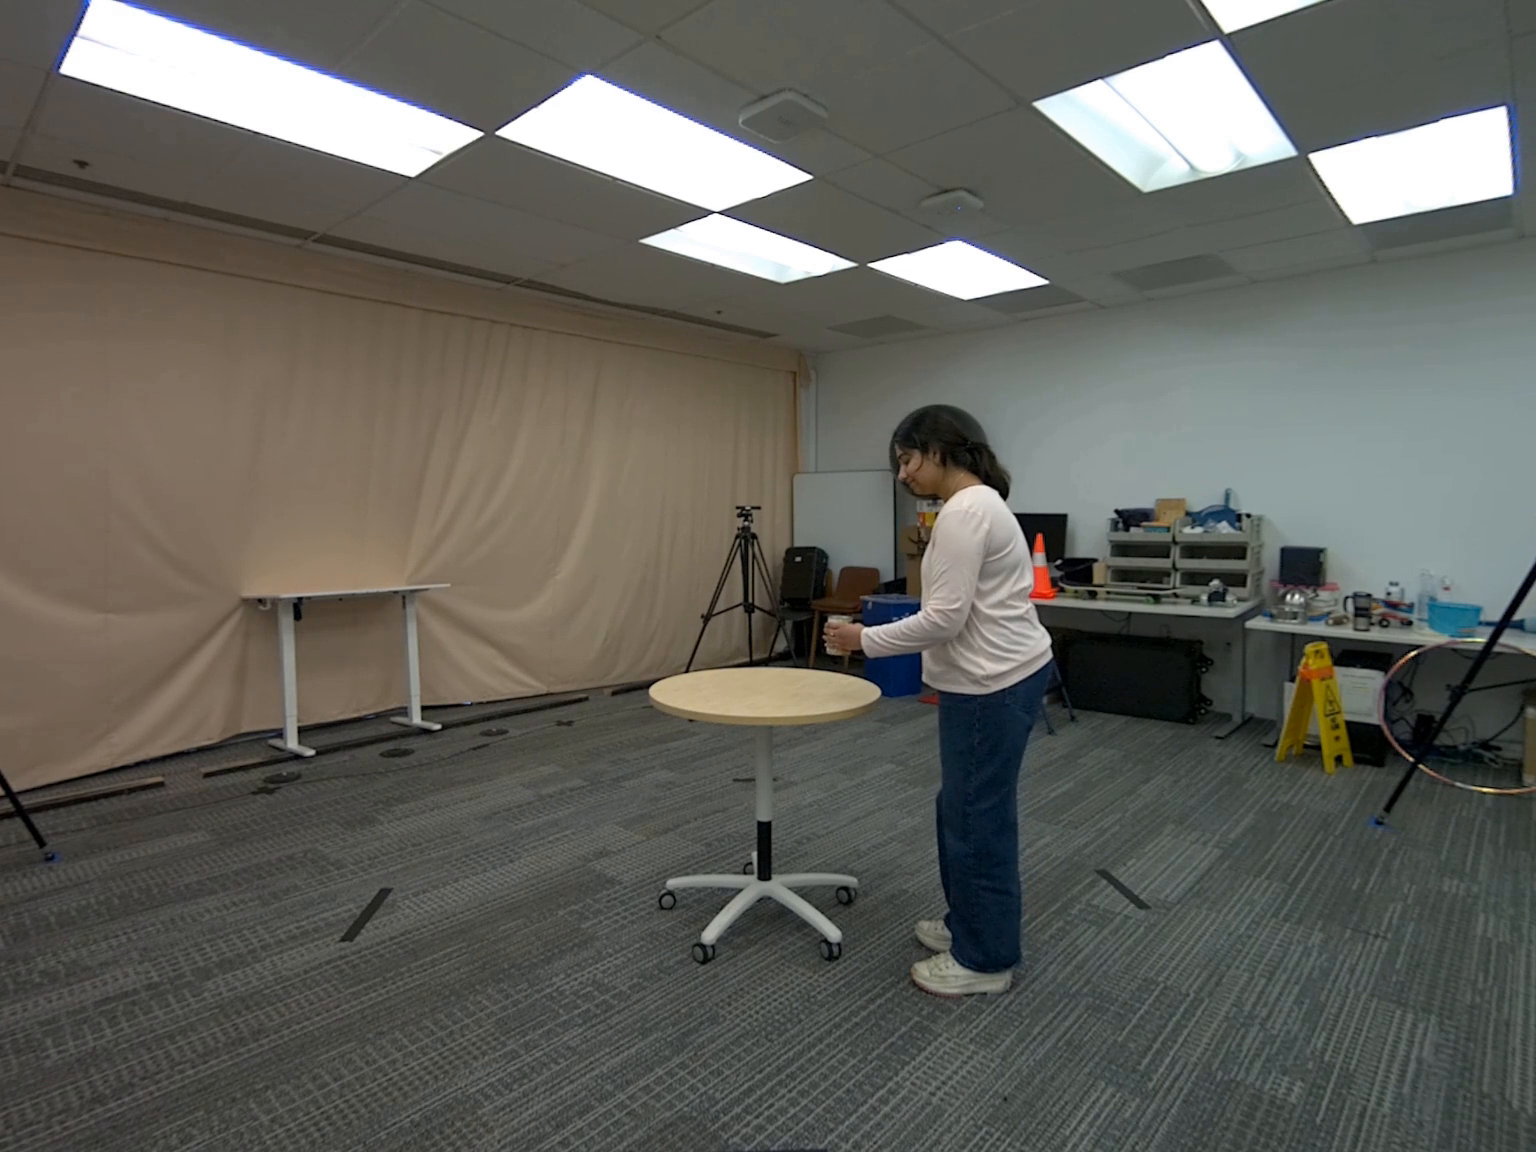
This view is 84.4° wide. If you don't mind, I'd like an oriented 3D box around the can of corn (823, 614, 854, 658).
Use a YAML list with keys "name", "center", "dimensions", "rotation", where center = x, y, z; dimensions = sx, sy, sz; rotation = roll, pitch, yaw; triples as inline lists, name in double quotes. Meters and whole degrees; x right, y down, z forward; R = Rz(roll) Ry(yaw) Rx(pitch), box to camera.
- name: "can of corn"
  center: [0.231, 0.186, 2.570]
  dimensions: [0.074, 0.111, 0.074]
  rotation: [2, 5, -2]
